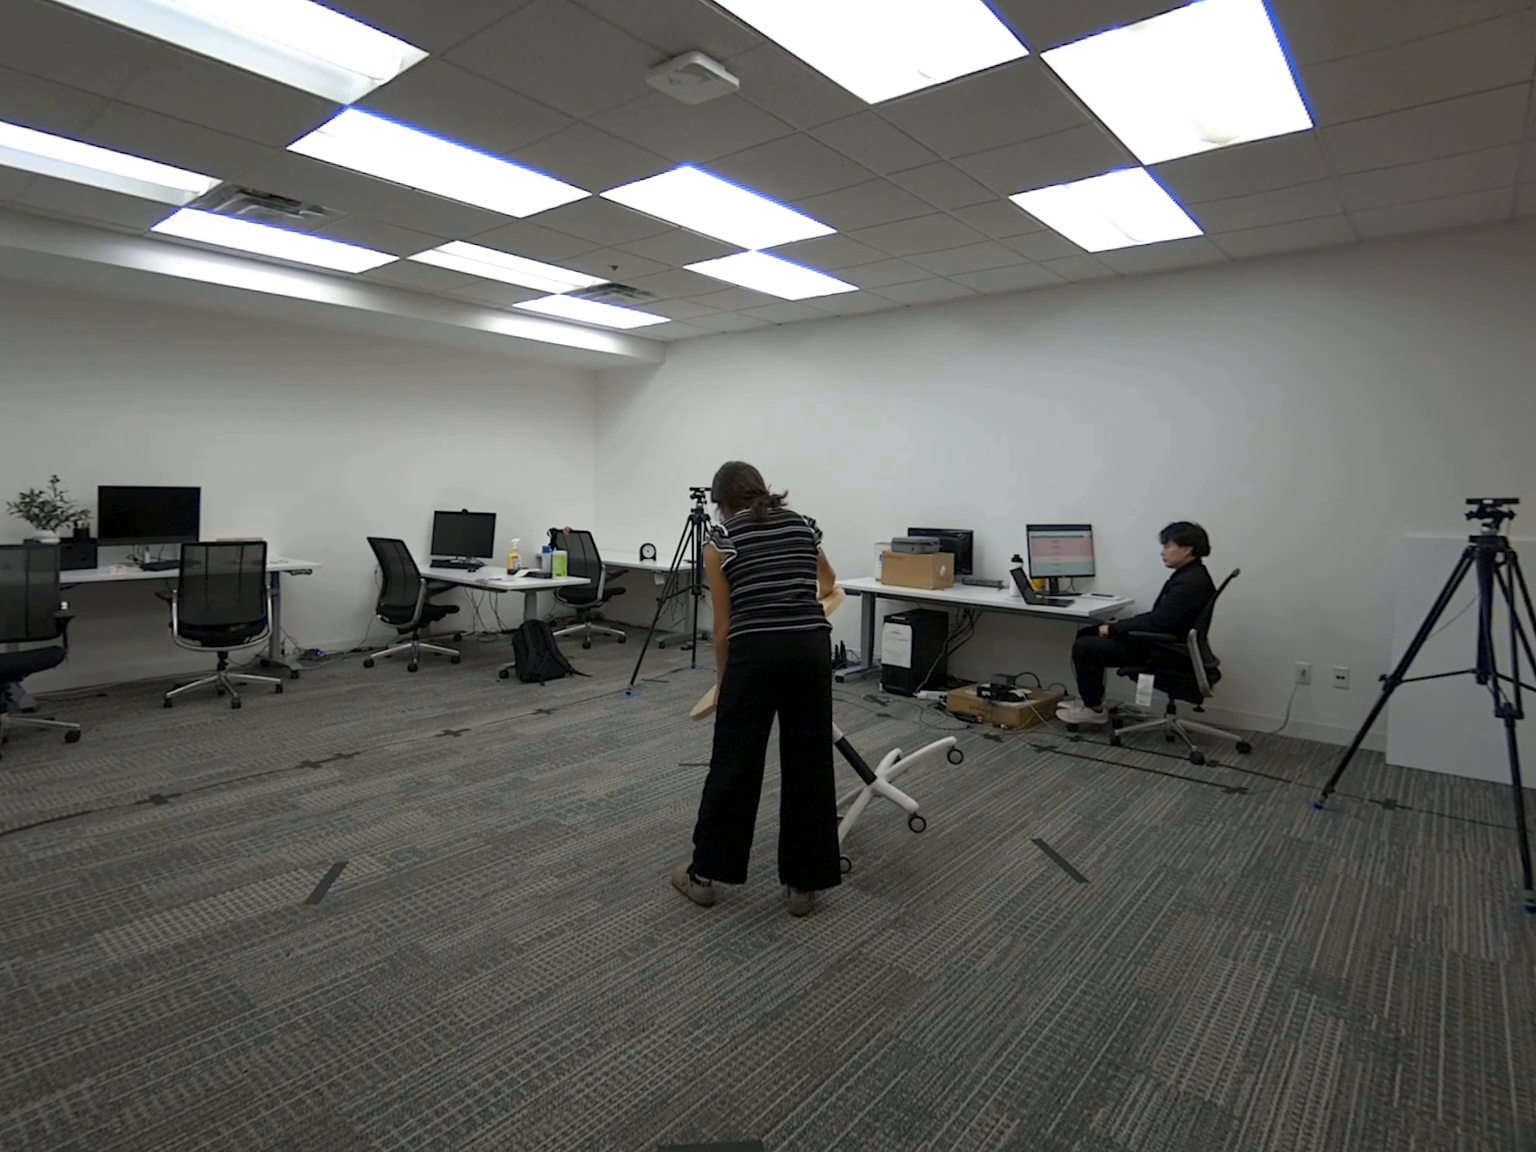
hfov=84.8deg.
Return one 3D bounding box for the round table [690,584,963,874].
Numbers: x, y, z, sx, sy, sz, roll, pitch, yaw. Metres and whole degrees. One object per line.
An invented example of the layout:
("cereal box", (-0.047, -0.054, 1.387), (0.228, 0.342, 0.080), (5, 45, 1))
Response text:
("round table", (0.239, 0.592, 3.298), (0.763, 0.796, 0.763), (-39, 0, -2))
